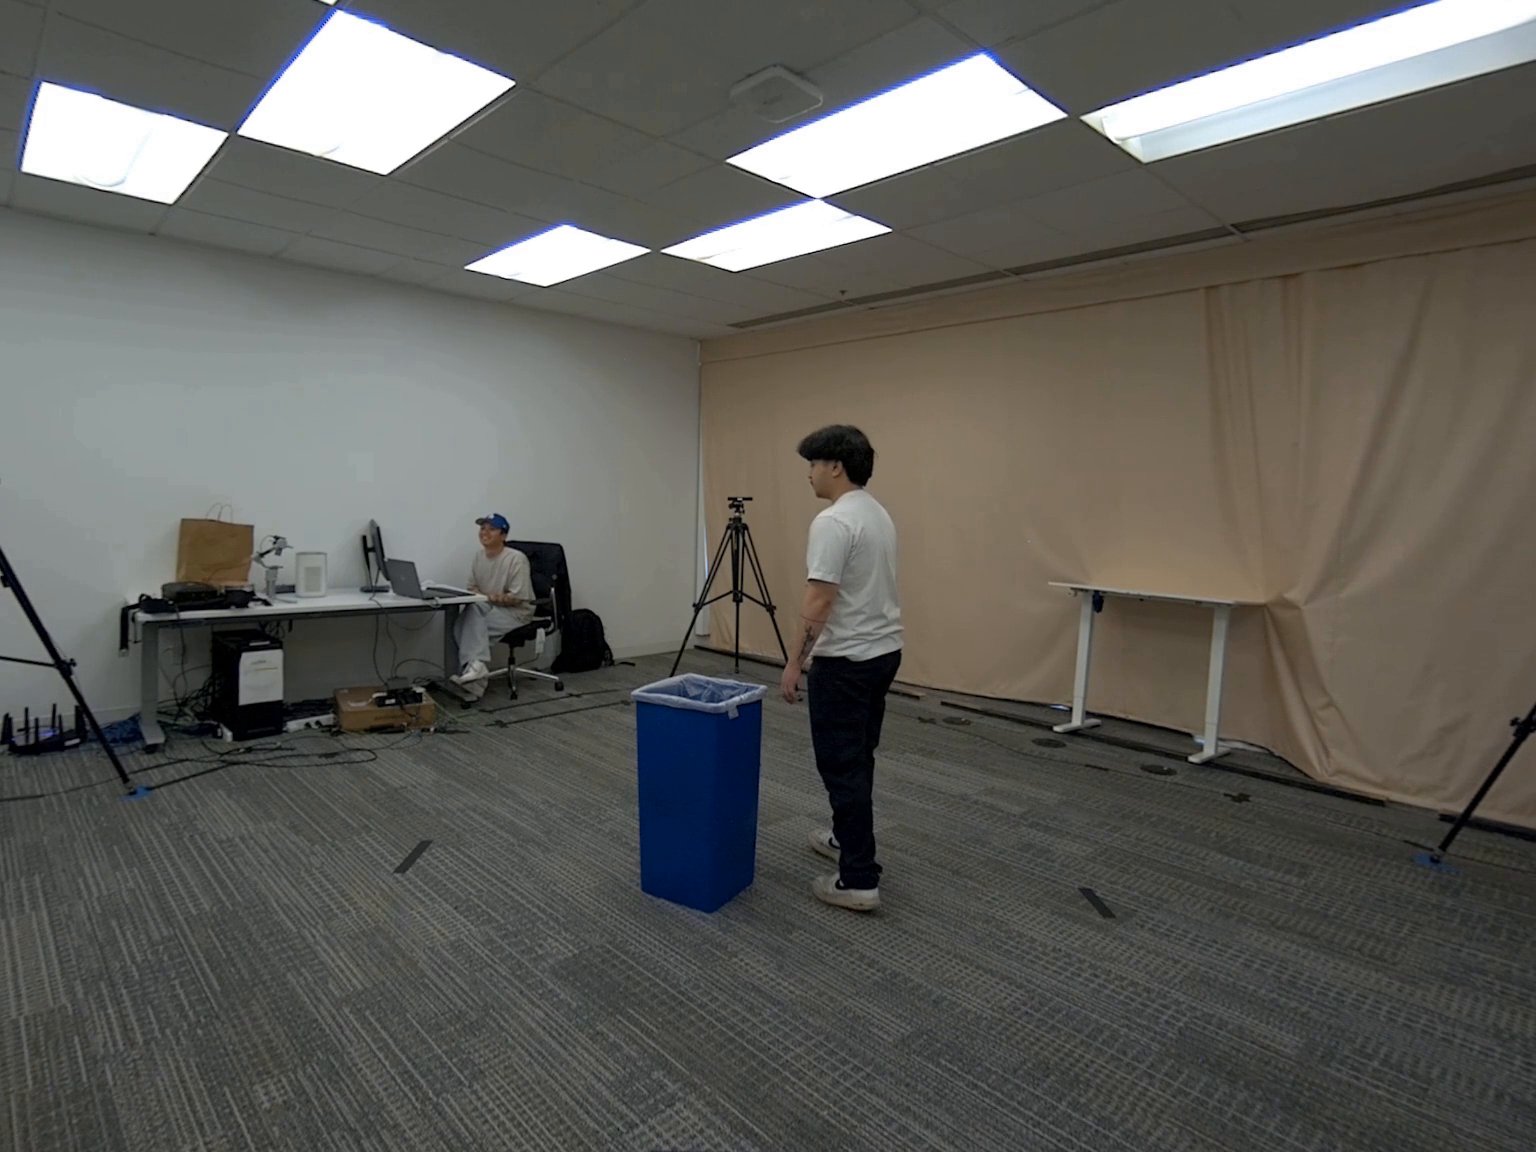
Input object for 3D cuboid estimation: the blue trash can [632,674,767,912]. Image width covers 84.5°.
[{"bbox_3d":[-0.258,0.755,3.000,0.382,0.712,0.371,3,4,30],"label":"blue trash can"}]
